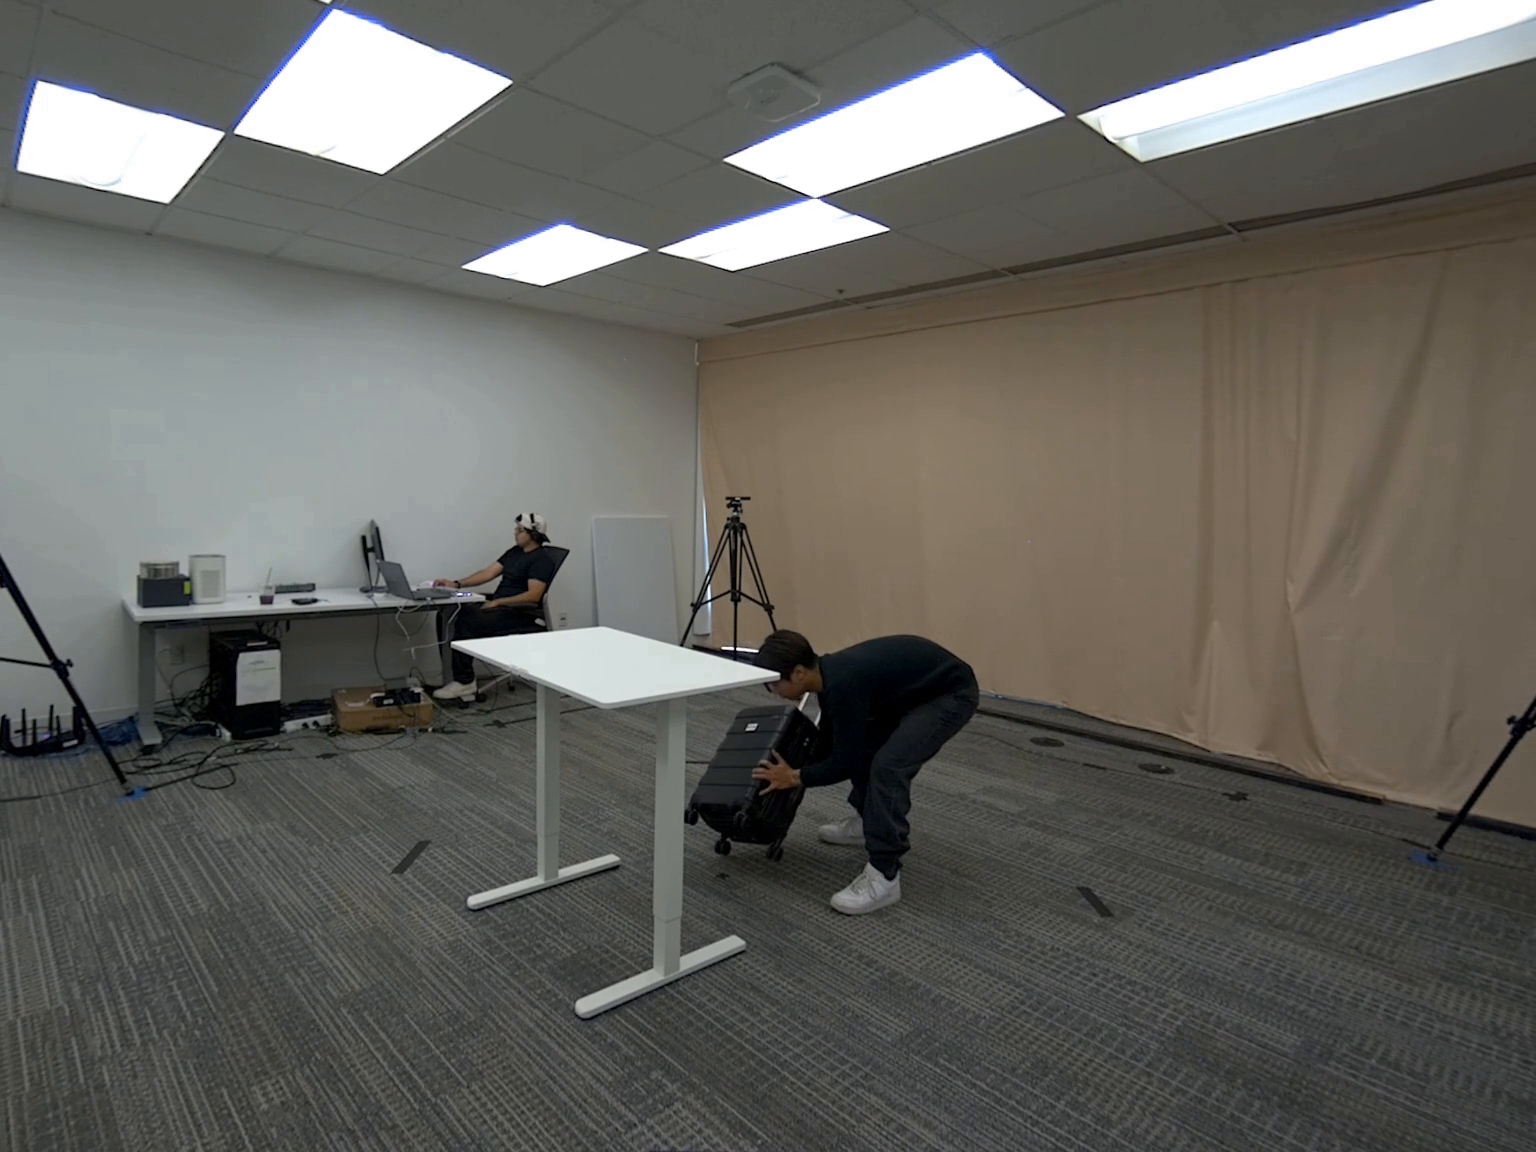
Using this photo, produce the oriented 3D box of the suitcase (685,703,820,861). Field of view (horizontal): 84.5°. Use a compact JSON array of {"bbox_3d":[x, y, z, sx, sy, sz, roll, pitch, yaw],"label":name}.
[{"bbox_3d":[0.036,0.617,3.368,0.390,0.985,0.251,-16,-54,46],"label":"suitcase"}]
